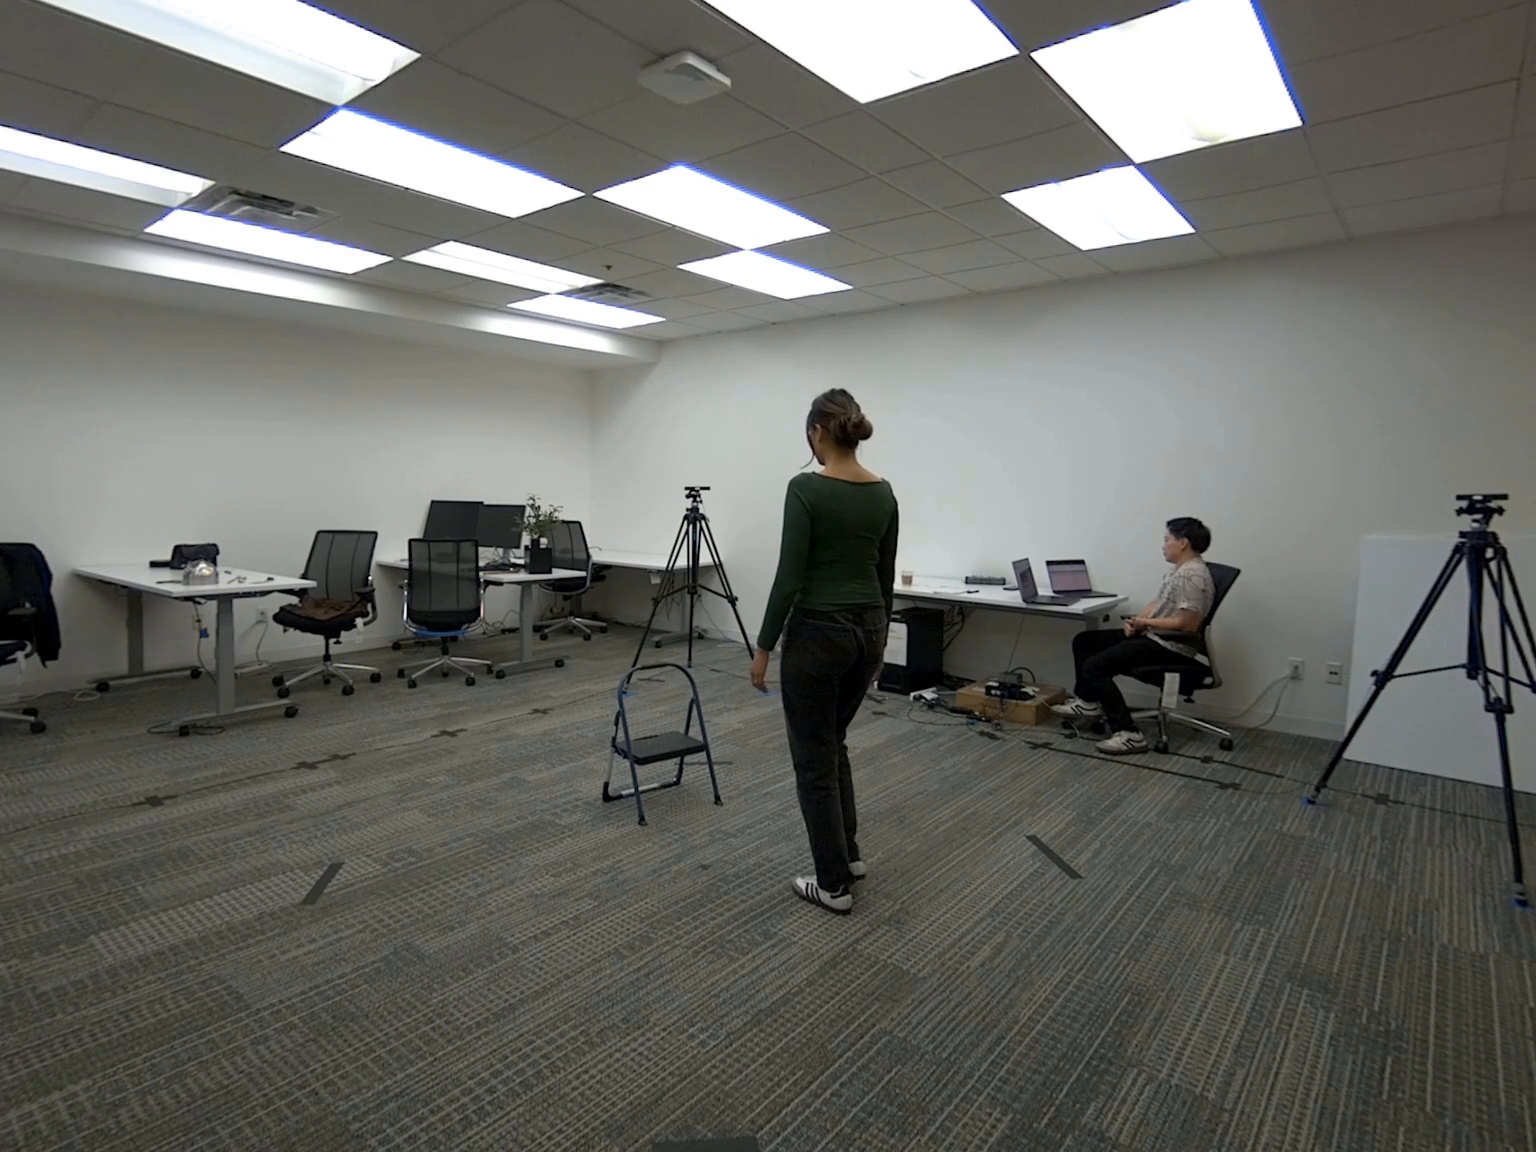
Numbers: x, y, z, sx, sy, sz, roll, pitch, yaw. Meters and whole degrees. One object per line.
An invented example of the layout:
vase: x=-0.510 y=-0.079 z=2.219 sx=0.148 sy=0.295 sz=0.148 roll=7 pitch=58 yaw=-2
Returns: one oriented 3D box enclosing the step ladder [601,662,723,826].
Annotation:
step ladder: x=-0.475 y=0.695 z=3.739 sx=0.418 sy=0.604 sz=0.361 roll=-2 pitch=4 yaw=-40
